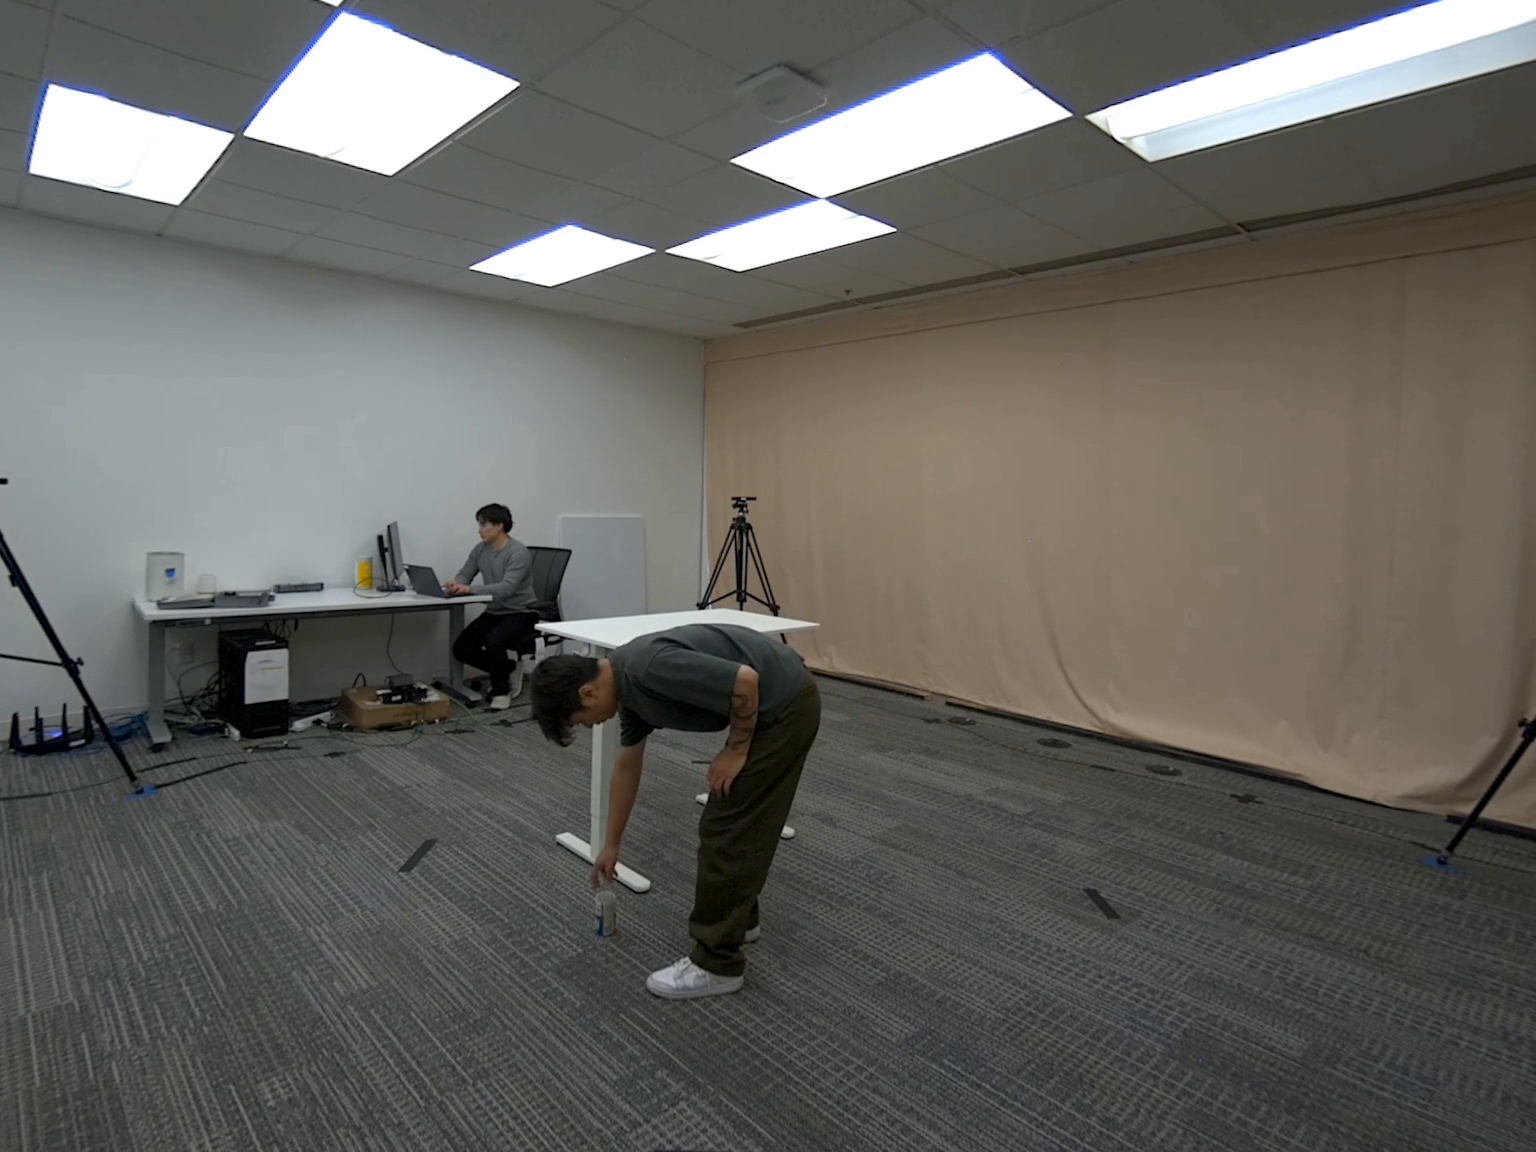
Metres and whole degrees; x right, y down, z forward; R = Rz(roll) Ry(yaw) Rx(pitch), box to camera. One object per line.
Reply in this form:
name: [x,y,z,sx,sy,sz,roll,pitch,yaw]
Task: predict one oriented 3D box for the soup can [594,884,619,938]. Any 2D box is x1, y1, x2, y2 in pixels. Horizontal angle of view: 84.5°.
soup can: [-0.517,1.073,2.683,0.067,0.121,0.067,0,2,-1]
